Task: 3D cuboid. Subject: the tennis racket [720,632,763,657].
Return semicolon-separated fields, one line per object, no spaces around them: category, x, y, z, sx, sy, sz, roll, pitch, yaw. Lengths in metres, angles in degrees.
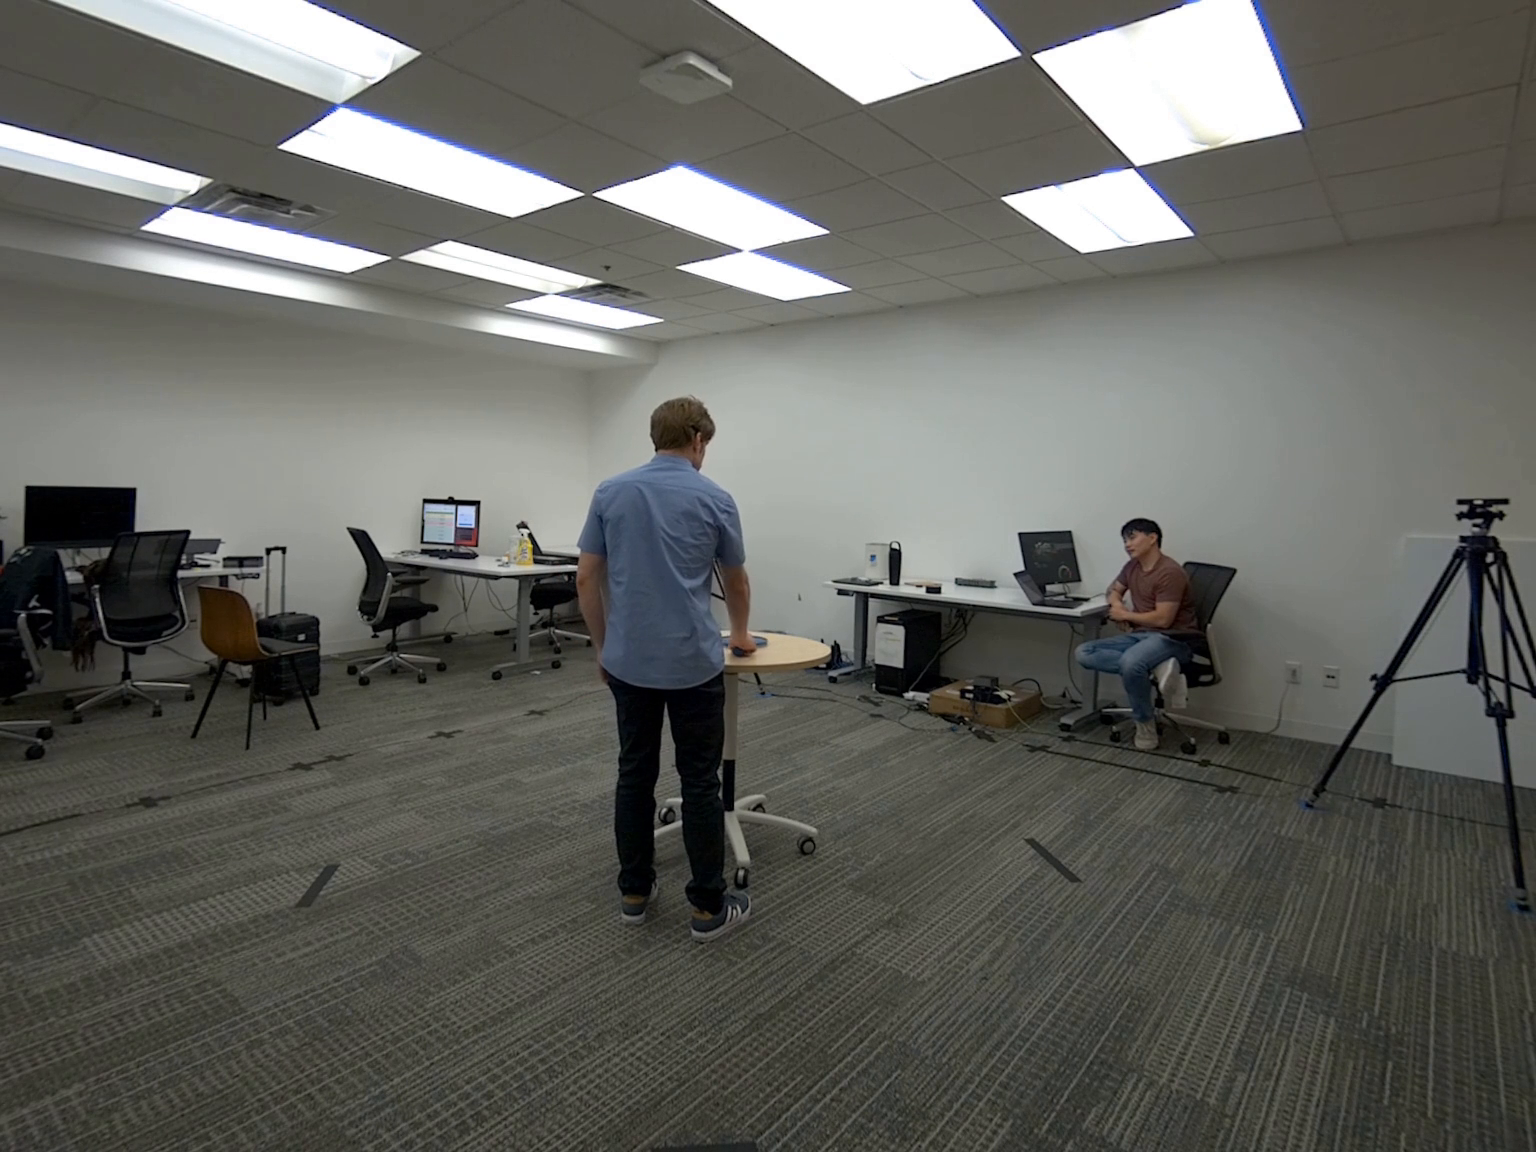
tennis racket;-0.129;0.261;3.284;0.214;0.032;0.433;0;3;0
